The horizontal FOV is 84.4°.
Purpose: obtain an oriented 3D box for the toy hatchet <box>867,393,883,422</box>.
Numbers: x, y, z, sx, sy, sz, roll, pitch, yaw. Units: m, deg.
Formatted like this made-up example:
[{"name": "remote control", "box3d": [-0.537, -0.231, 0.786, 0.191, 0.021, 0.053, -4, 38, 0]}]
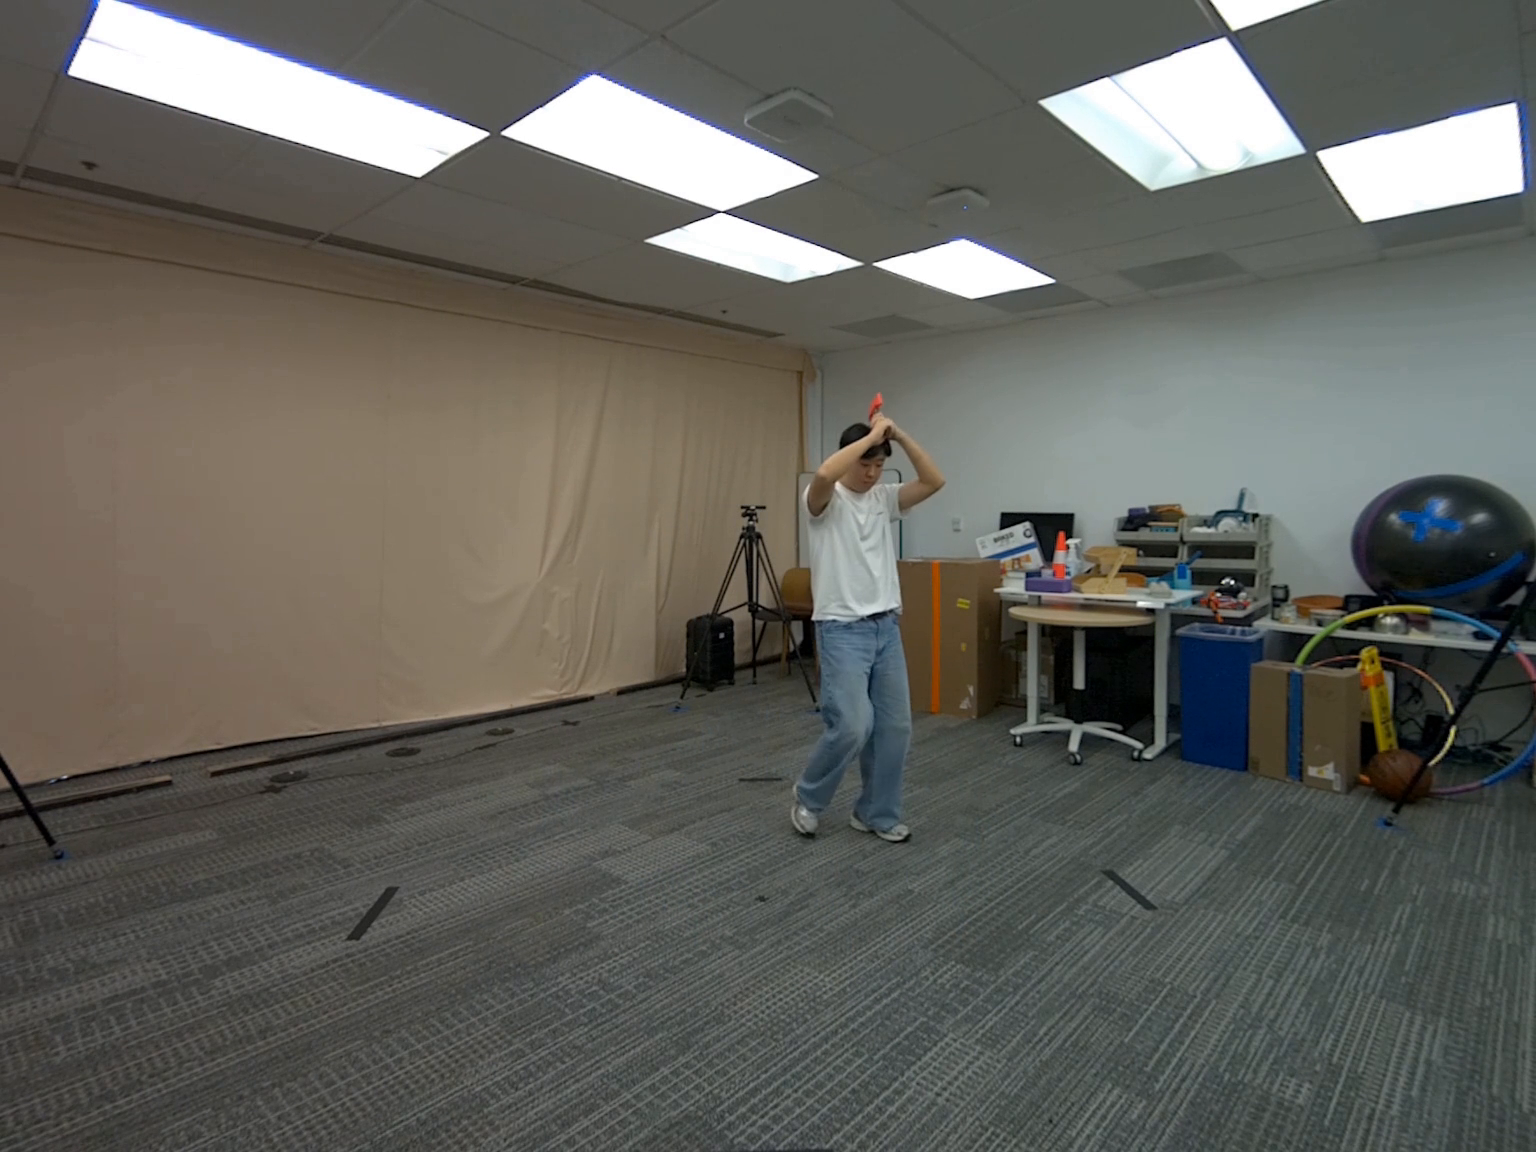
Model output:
[{"name": "toy hatchet", "box3d": [0.461, -0.639, 3.372, 0.029, 0.130, 0.276, 8, 22, -14]}]
